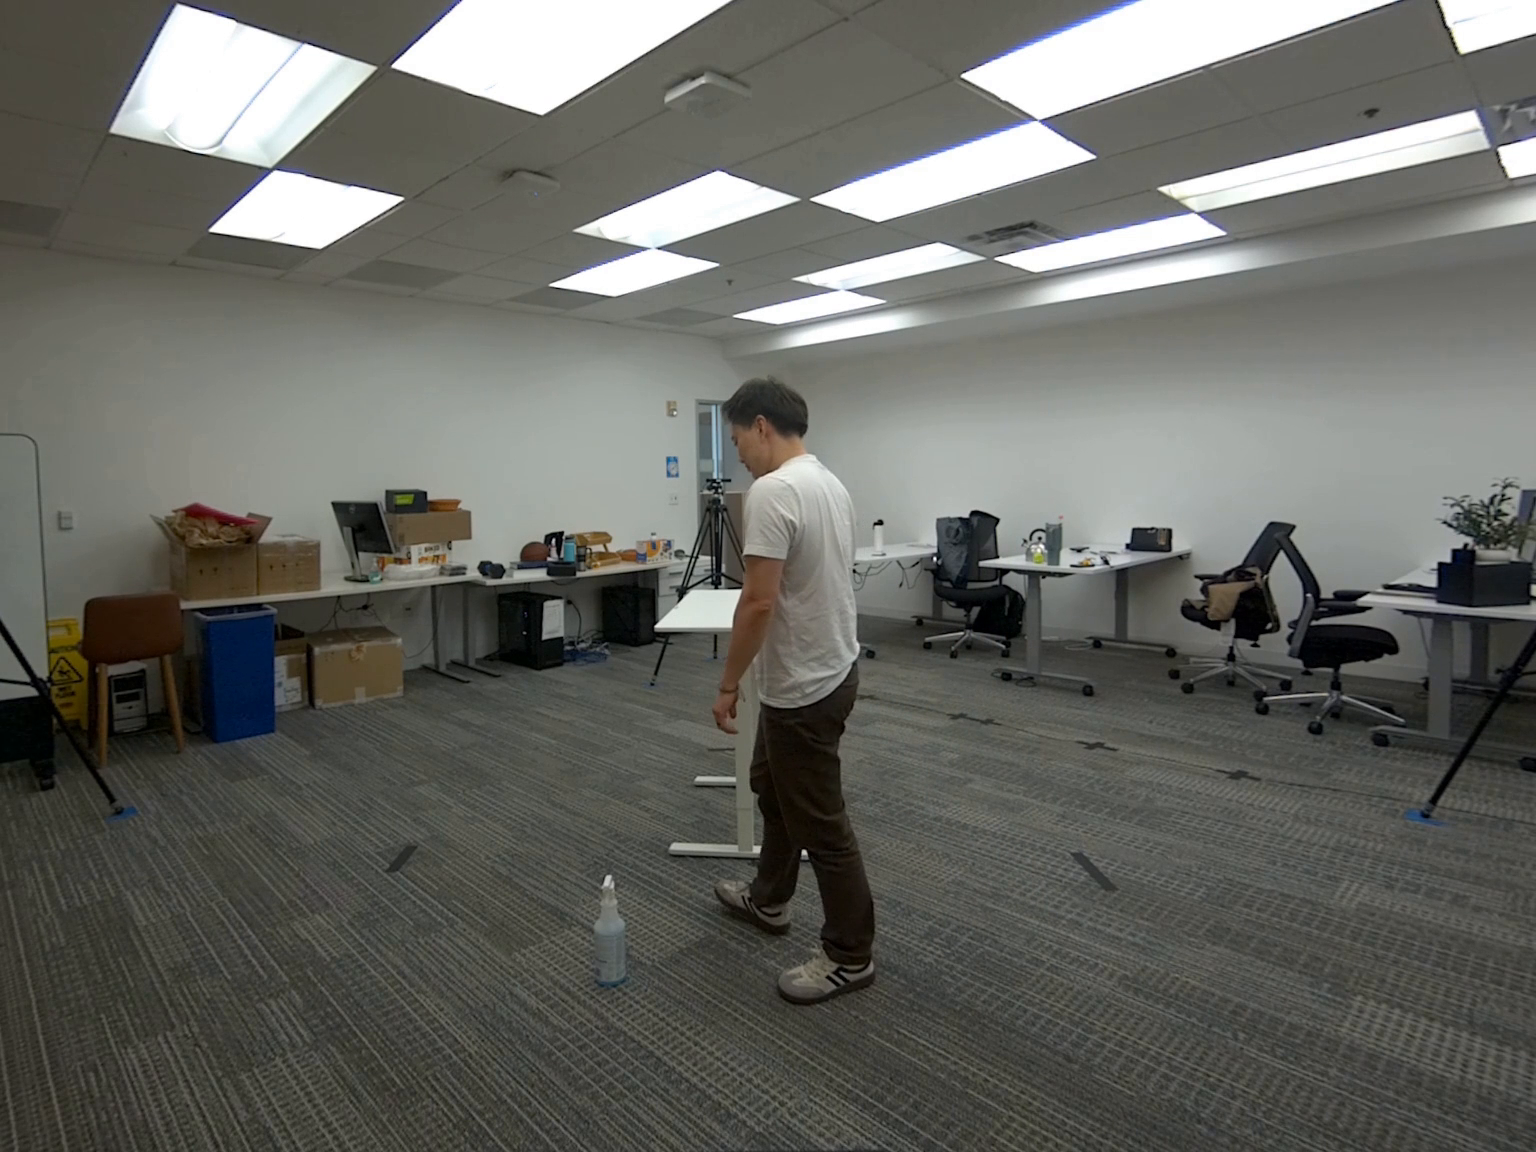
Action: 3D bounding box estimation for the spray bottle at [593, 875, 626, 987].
[{"bbox_3d":[-0.448,0.999,2.397,0.089,0.296,0.088,-2,5,22],"label":"spray bottle"}]
